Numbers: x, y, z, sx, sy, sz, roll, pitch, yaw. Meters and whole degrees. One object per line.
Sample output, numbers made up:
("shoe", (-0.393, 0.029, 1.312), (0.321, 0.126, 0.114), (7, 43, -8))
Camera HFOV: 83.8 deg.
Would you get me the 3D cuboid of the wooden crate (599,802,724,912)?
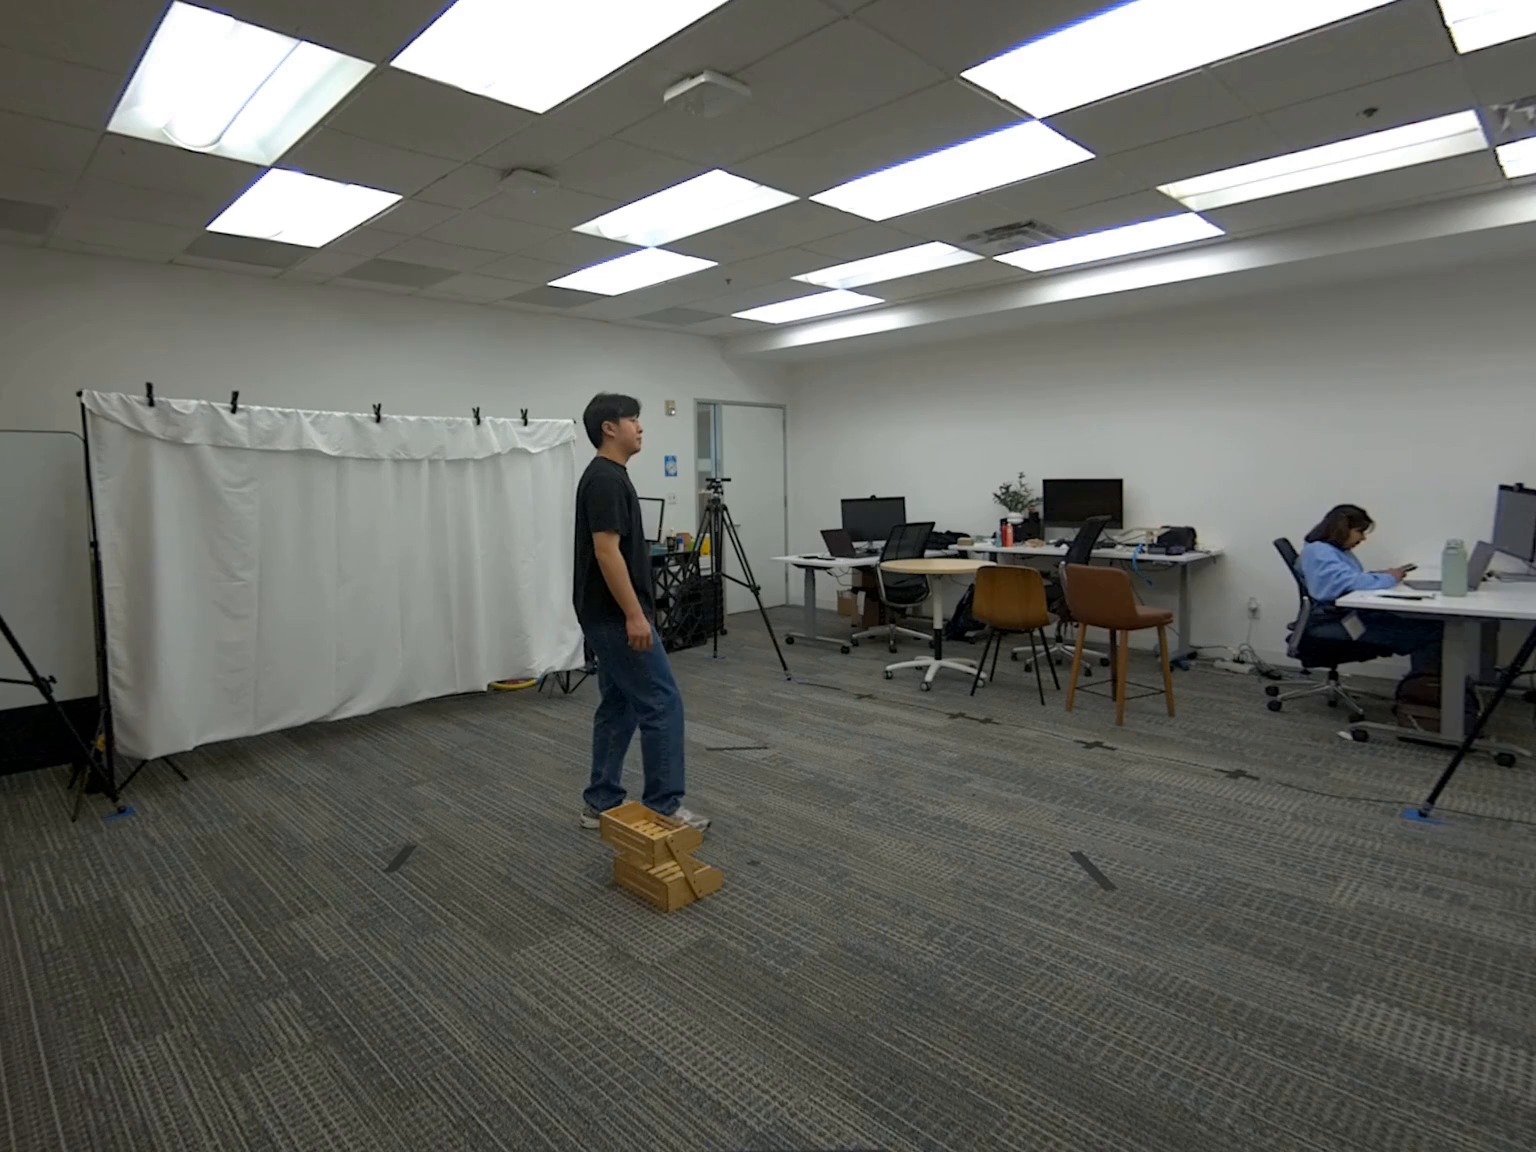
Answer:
("wooden crate", (-0.354, 0.932, 2.933), (0.294, 0.272, 0.334), (-7, 8, -44))
